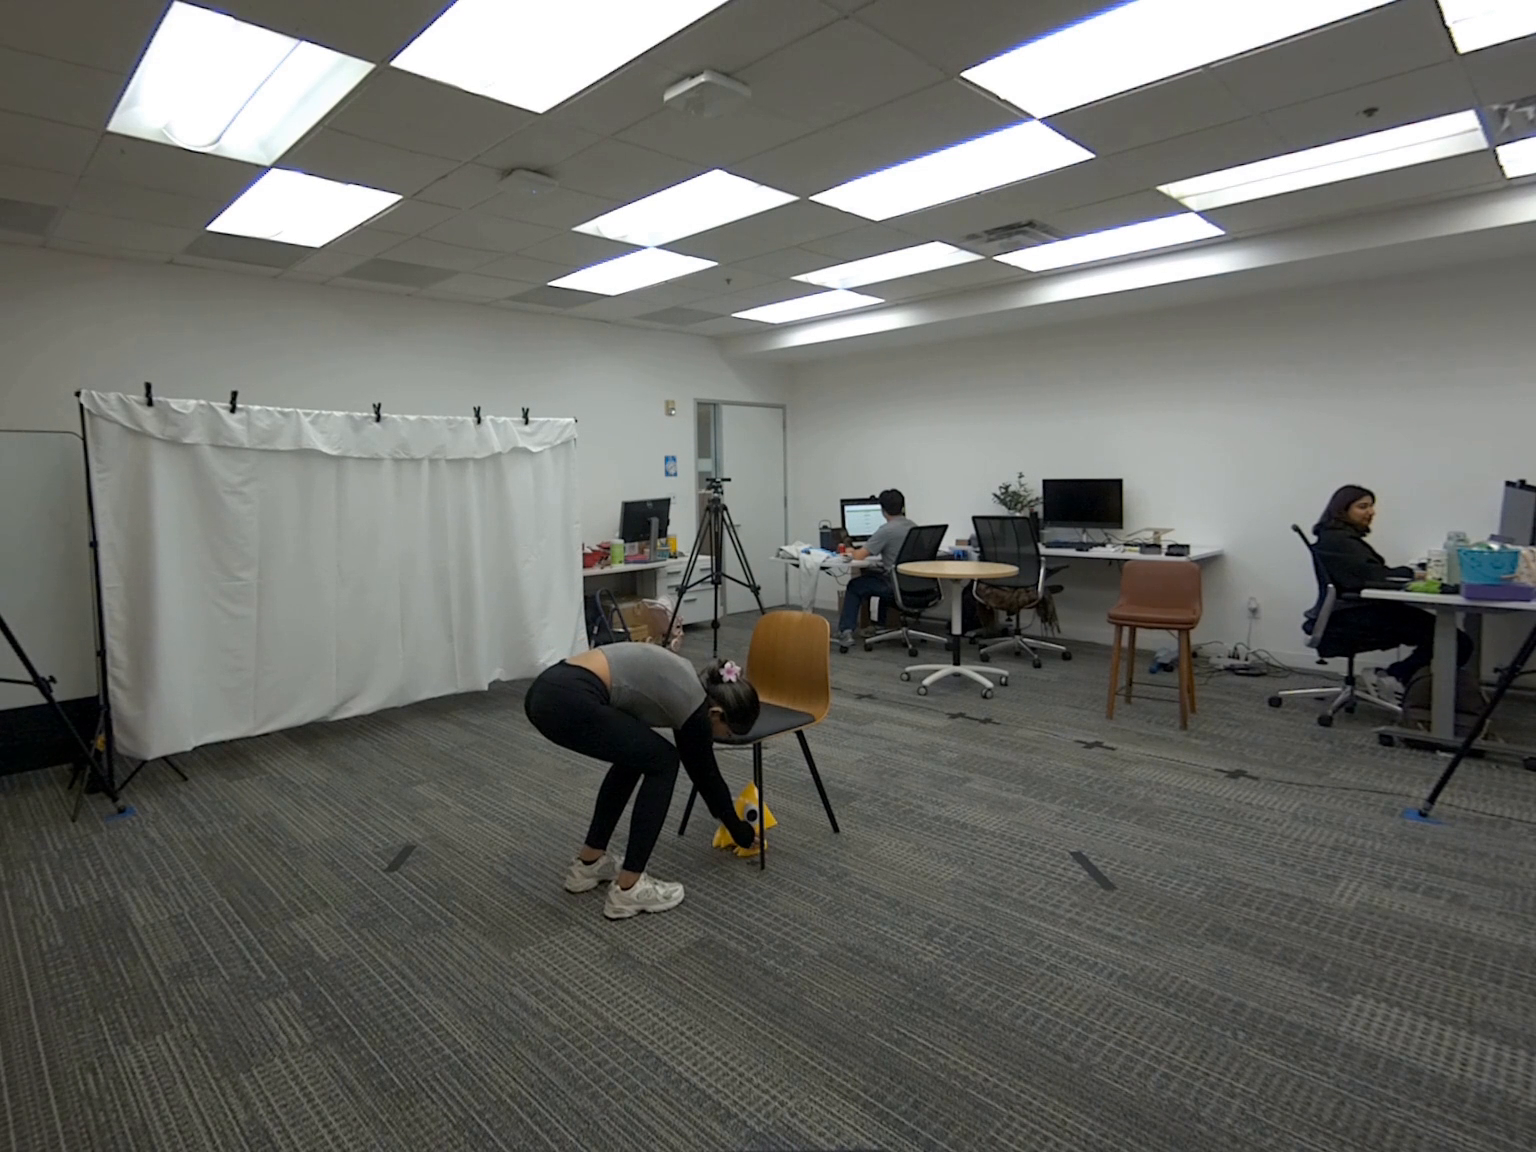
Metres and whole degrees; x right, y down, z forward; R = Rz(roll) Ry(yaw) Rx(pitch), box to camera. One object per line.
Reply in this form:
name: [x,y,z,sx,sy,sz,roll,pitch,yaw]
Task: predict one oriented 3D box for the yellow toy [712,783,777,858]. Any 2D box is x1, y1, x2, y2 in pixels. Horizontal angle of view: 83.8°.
yellow toy: [-0.101,0.912,3.254,0.211,0.230,0.188,4,6,41]
